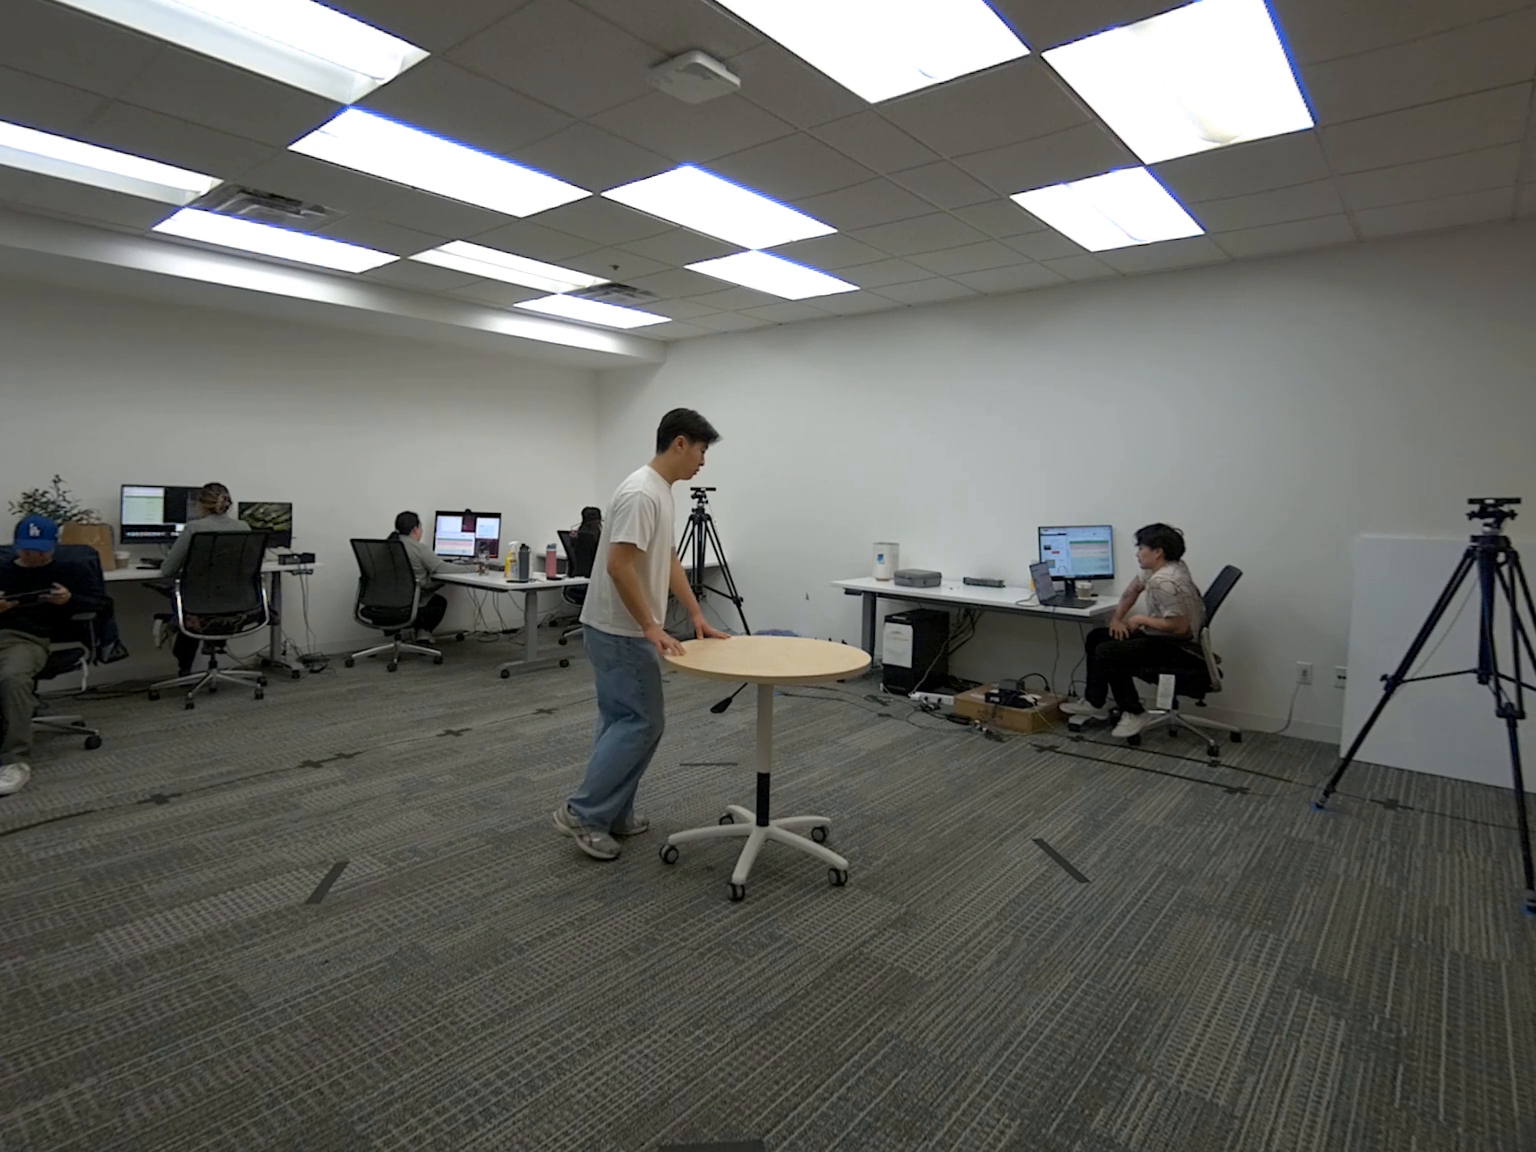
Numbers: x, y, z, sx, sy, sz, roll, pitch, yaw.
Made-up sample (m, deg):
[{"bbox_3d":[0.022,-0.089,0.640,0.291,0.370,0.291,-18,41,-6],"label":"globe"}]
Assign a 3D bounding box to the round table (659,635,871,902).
[{"bbox_3d":[-0.031,0.677,3.153,0.763,0.791,0.768,1,4,-2],"label":"round table"}]
